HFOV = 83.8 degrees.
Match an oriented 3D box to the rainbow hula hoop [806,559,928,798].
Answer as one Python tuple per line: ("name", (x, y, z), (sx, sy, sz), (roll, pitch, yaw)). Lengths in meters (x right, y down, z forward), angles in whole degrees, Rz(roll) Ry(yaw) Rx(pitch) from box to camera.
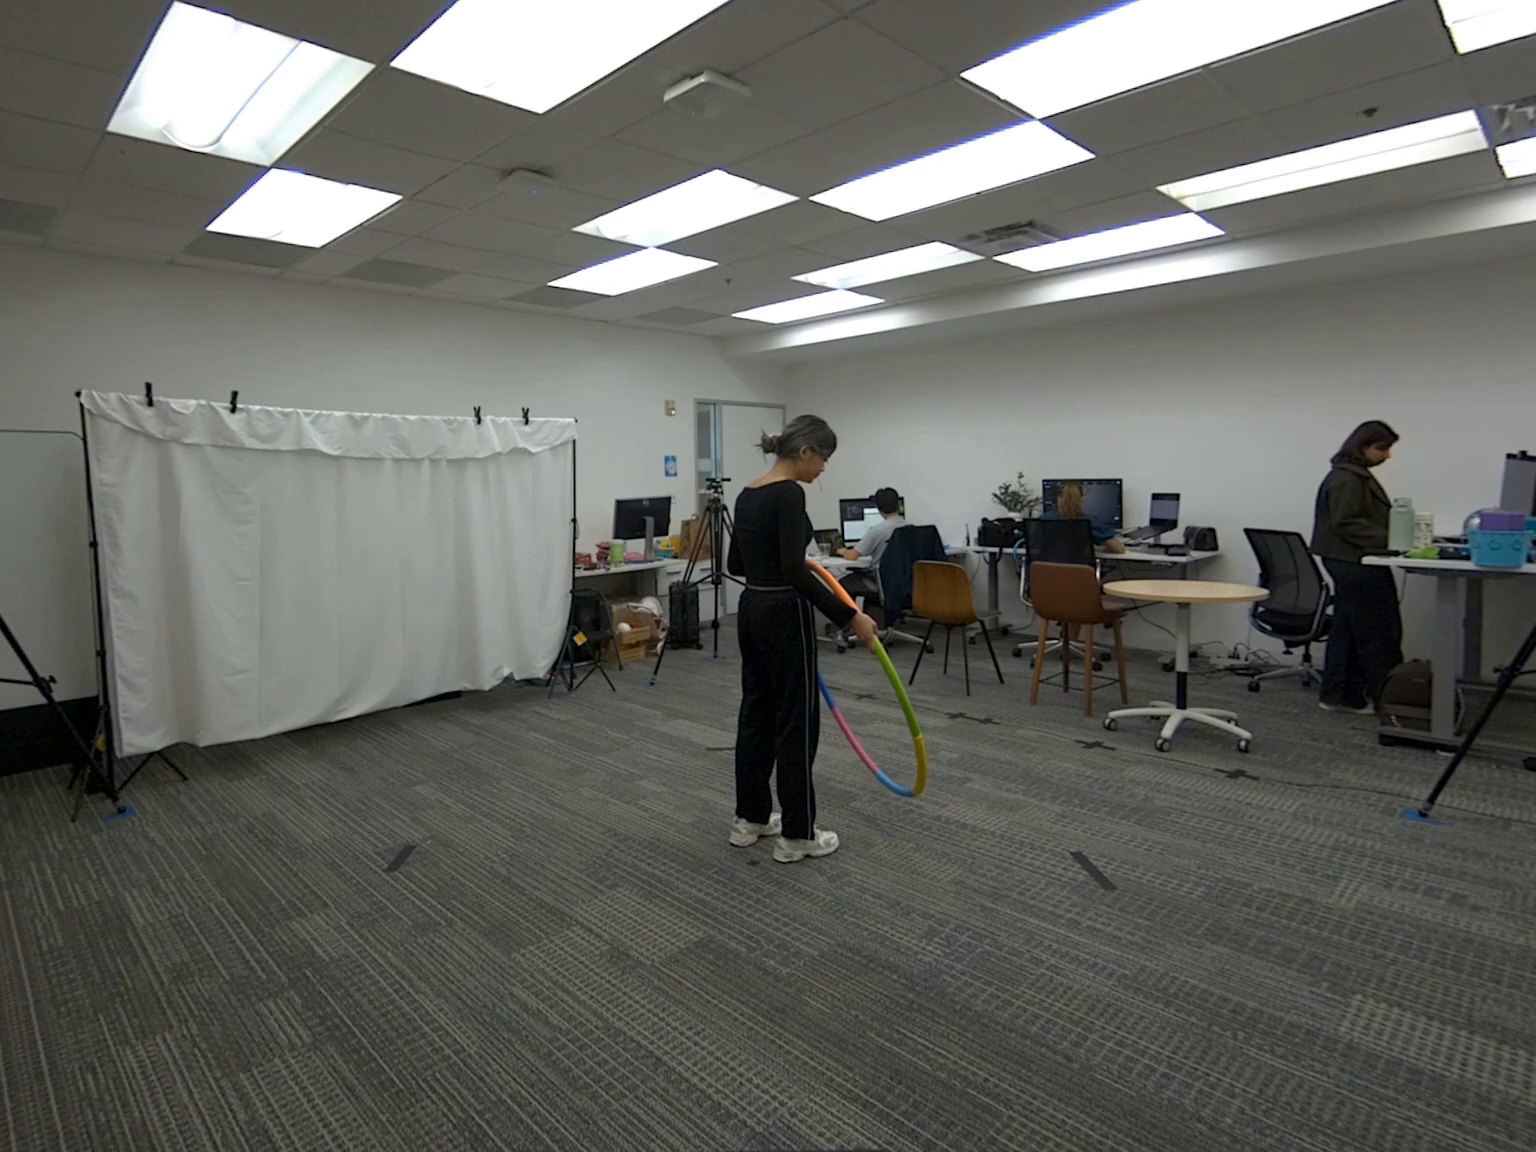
("rainbow hula hoop", (0.324, 0.390, 3.321), (0.035, 0.968, 0.997), (-23, 10, -14))
